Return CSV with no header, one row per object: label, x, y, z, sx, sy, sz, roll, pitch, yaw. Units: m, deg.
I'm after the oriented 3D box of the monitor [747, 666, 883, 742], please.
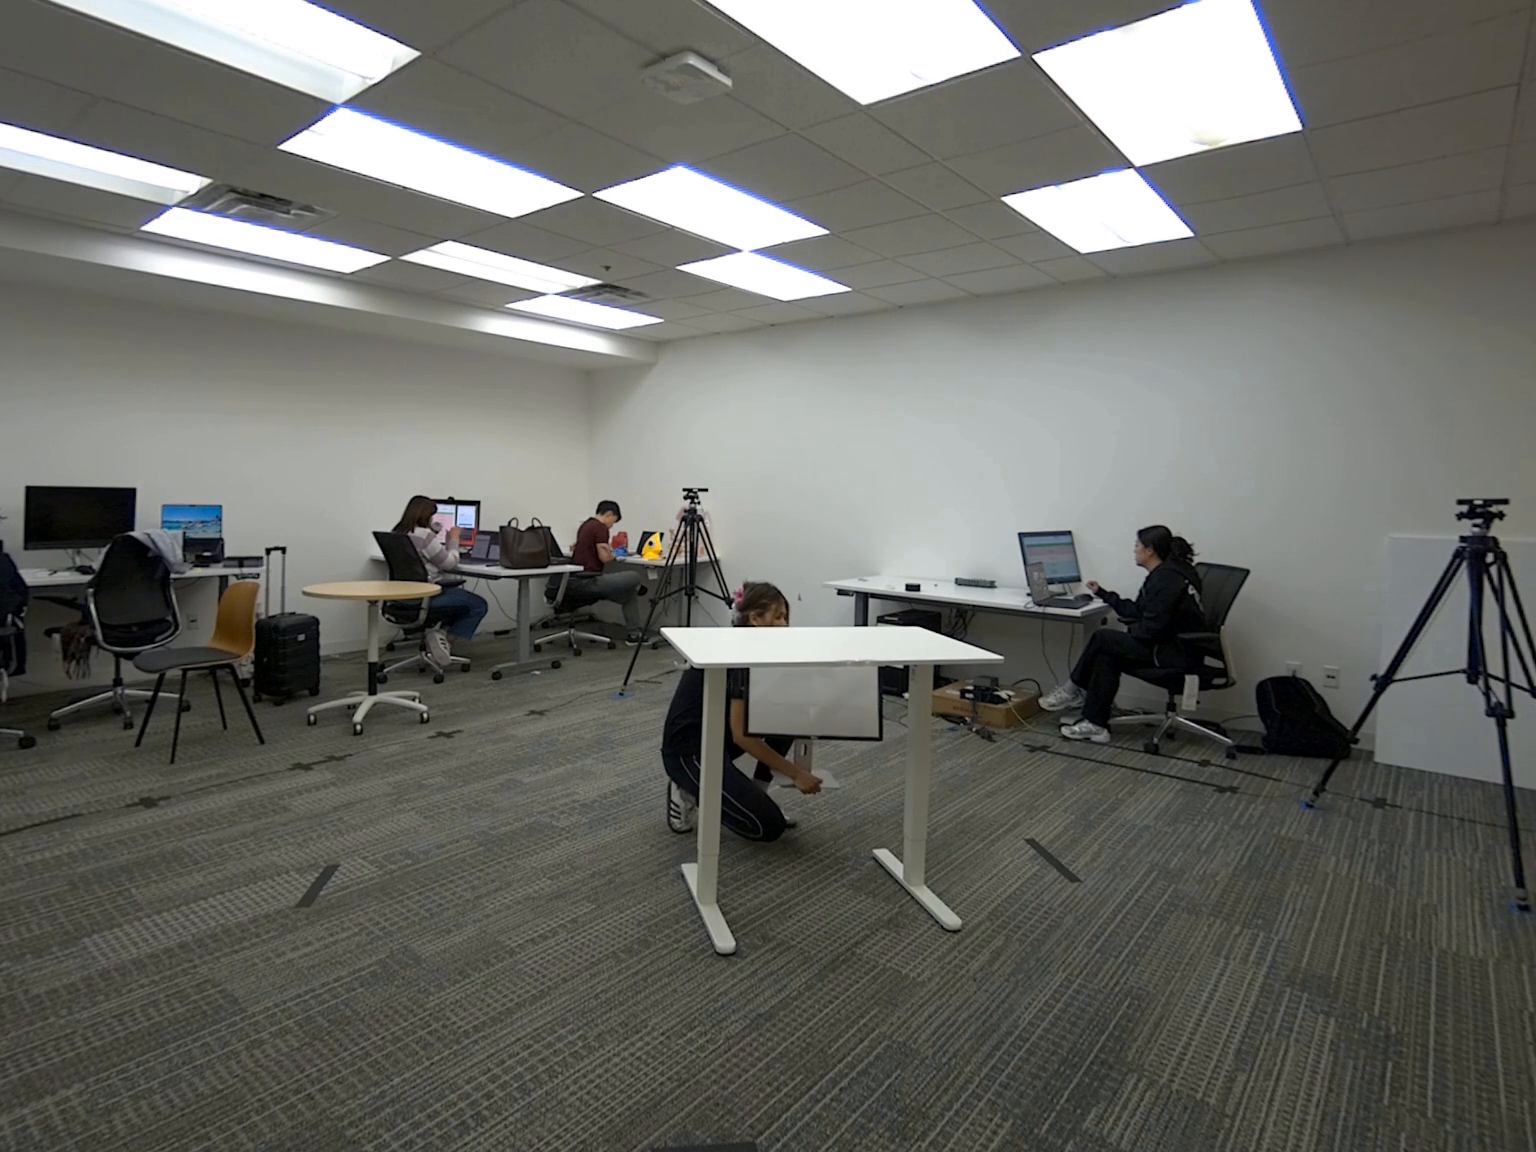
monitor,0.174,0.548,3.357,0.532,0.522,0.189,4,0,-12
